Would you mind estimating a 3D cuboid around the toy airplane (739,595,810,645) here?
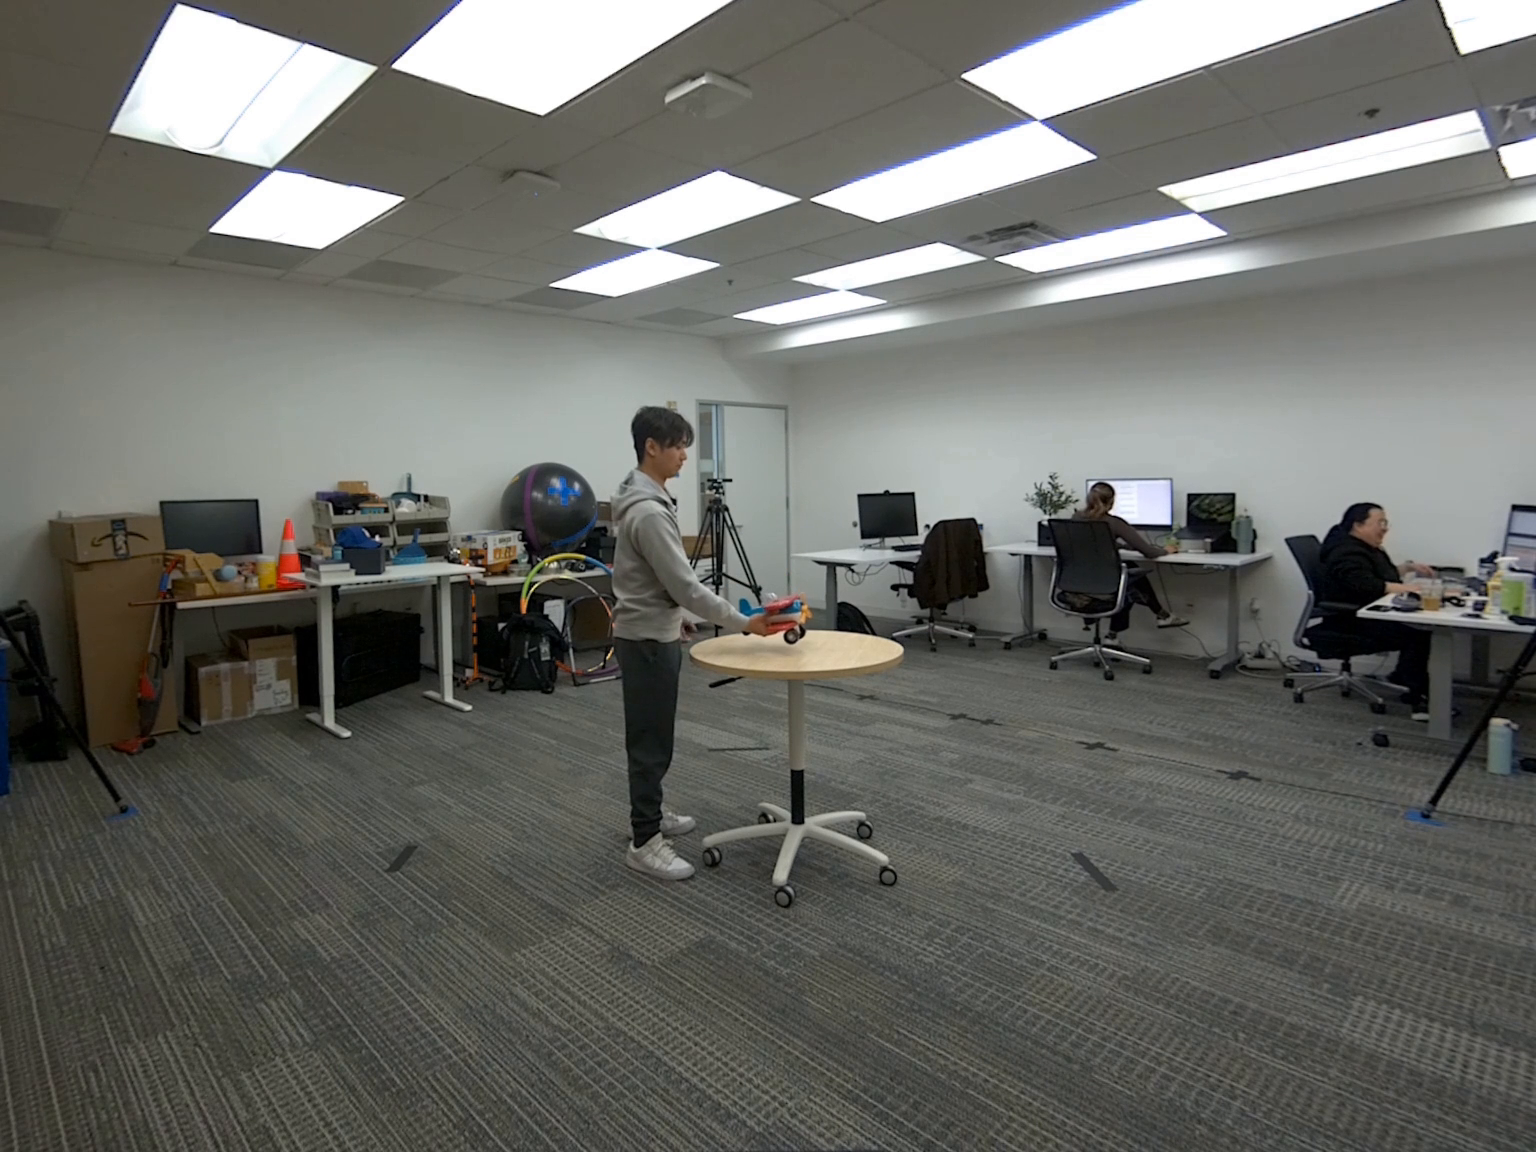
[{"bbox_3d":[0.011,0.149,3.044,0.257,0.155,0.255,3,8,-9],"label":"toy airplane"}]
